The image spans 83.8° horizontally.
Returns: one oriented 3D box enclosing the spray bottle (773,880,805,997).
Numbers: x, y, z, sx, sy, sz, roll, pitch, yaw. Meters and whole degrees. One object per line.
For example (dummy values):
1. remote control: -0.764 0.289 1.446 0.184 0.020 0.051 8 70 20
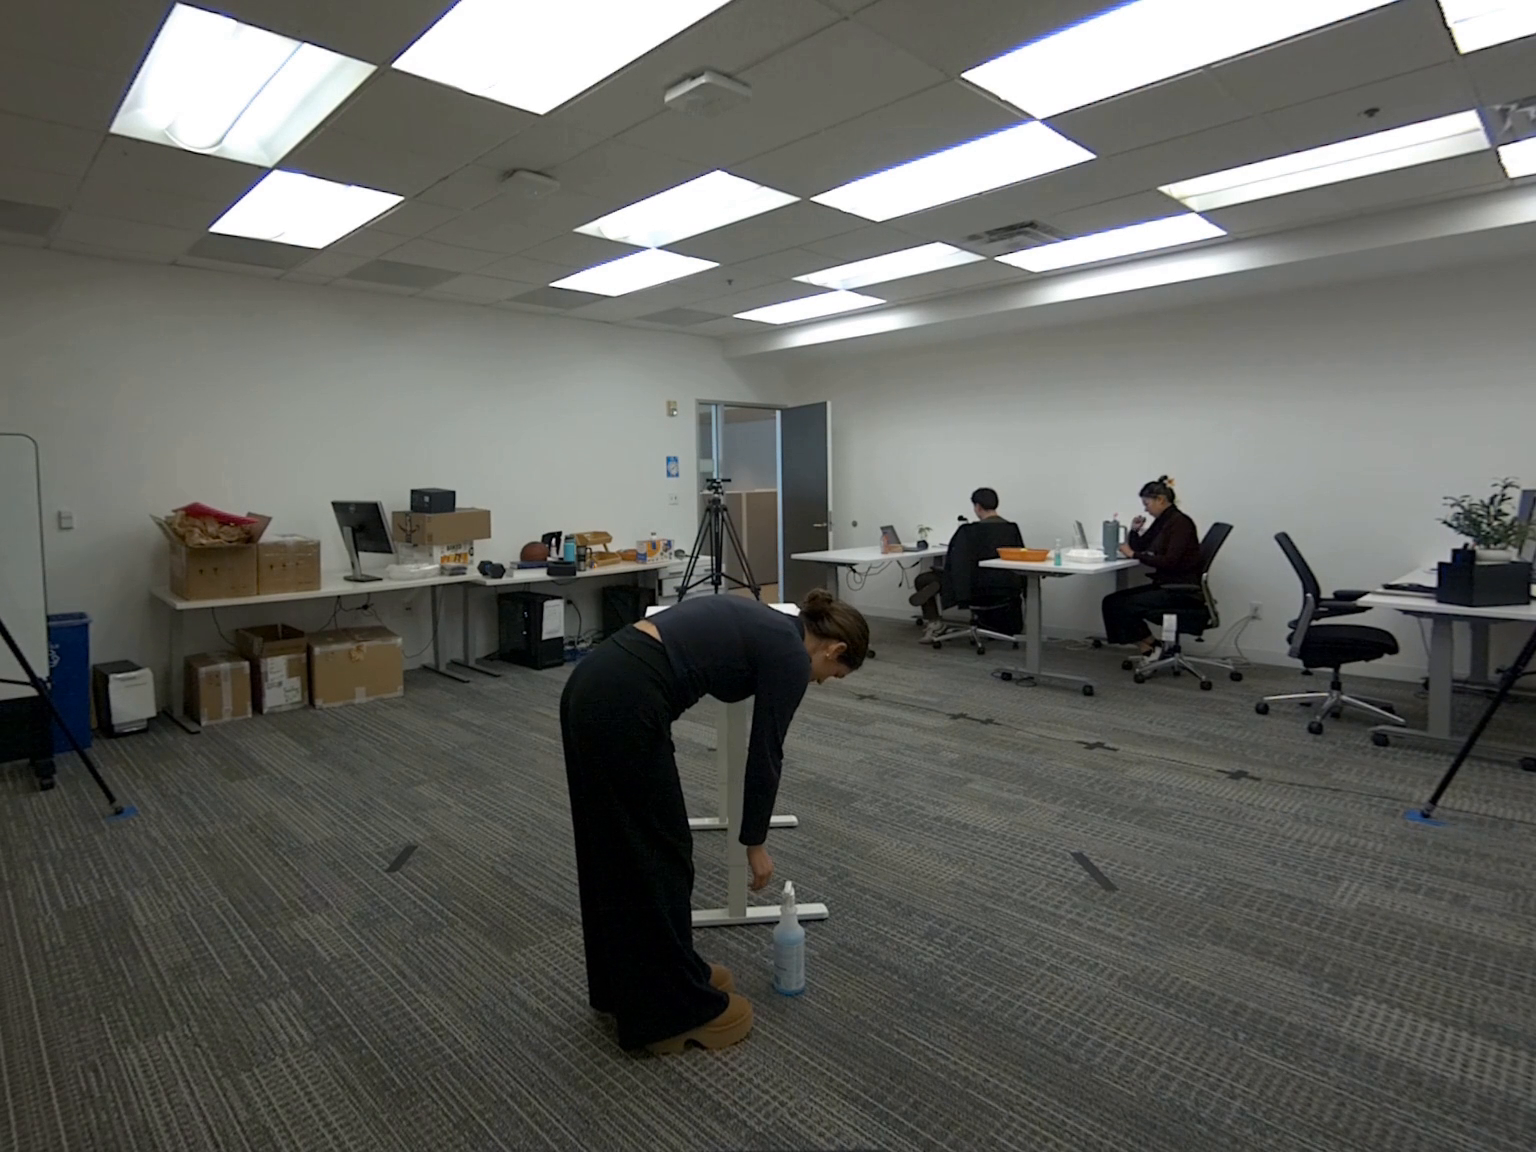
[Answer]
1. spray bottle: 0.065 0.987 2.338 0.089 0.296 0.088 1 5 30
